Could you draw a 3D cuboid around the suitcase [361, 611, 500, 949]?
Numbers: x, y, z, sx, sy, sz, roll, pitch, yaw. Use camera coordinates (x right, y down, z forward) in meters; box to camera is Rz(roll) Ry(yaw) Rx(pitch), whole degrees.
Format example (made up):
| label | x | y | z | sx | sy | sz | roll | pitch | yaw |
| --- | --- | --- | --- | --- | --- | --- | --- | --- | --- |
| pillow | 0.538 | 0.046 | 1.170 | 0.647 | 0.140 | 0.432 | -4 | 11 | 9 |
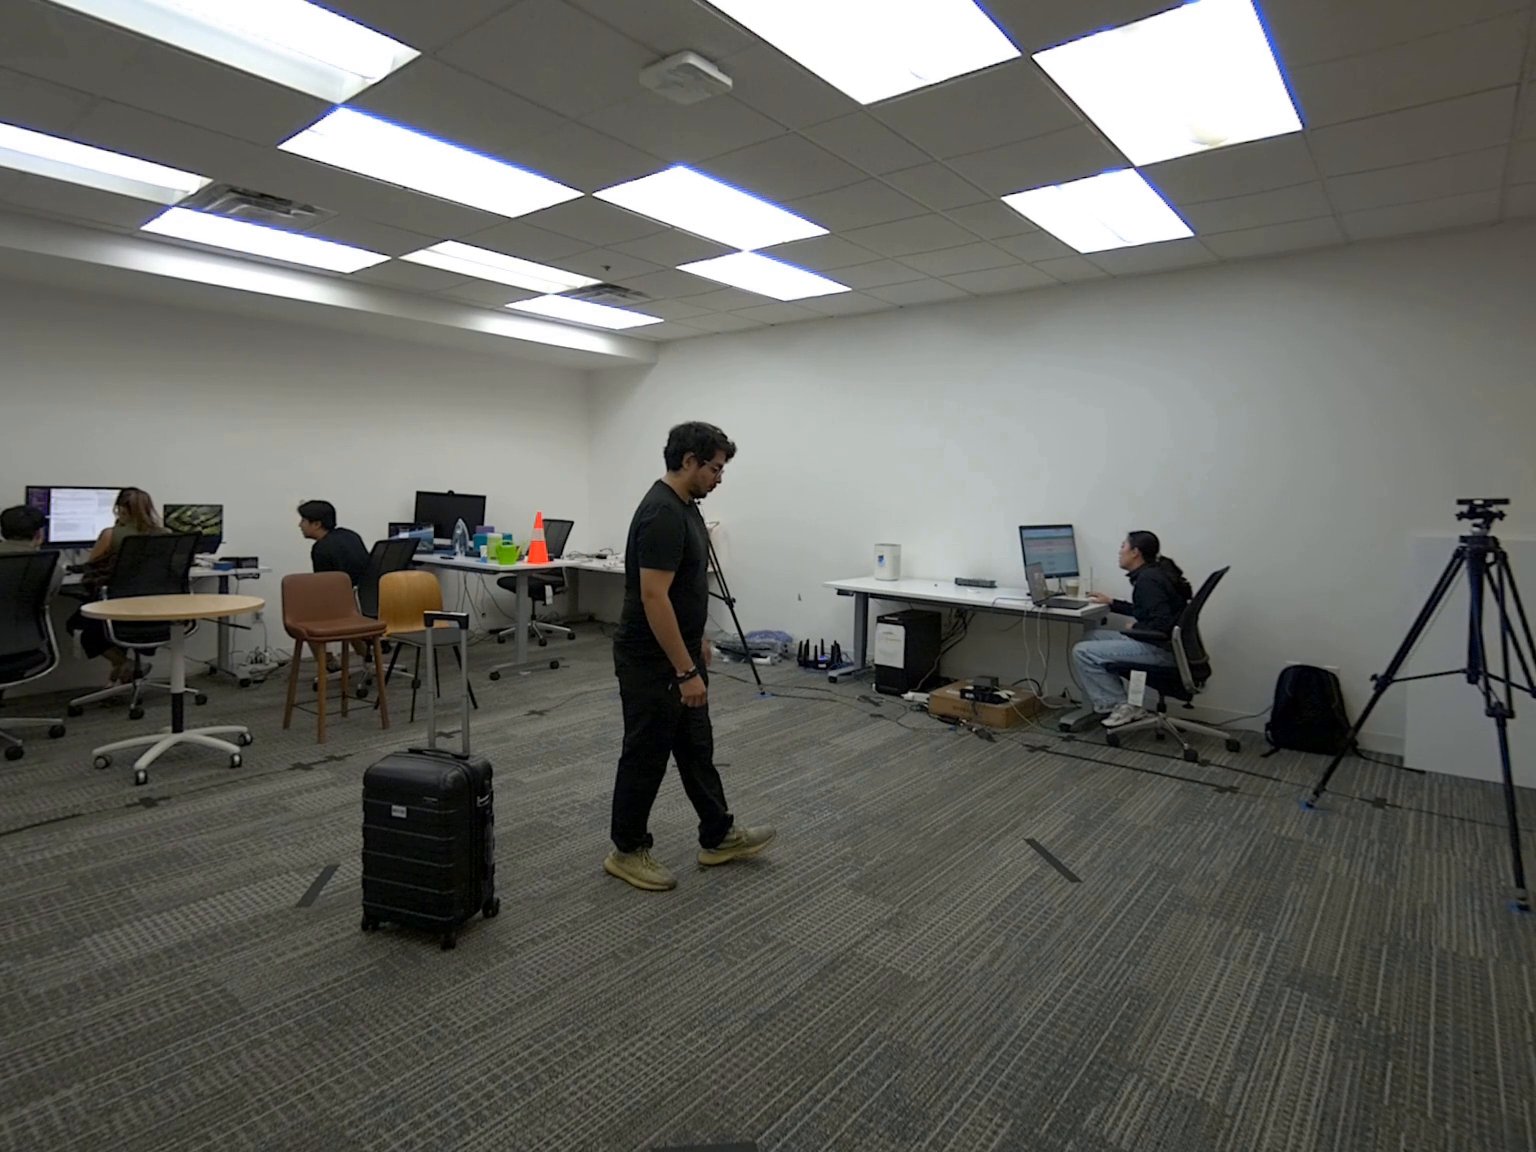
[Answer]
| label | x | y | z | sx | sy | sz | roll | pitch | yaw |
| --- | --- | --- | --- | --- | --- | --- | --- | --- | --- |
| suitcase | -1.070 | 0.627 | 2.645 | 0.391 | 0.973 | 0.254 | 2 | 6 | 17 |
